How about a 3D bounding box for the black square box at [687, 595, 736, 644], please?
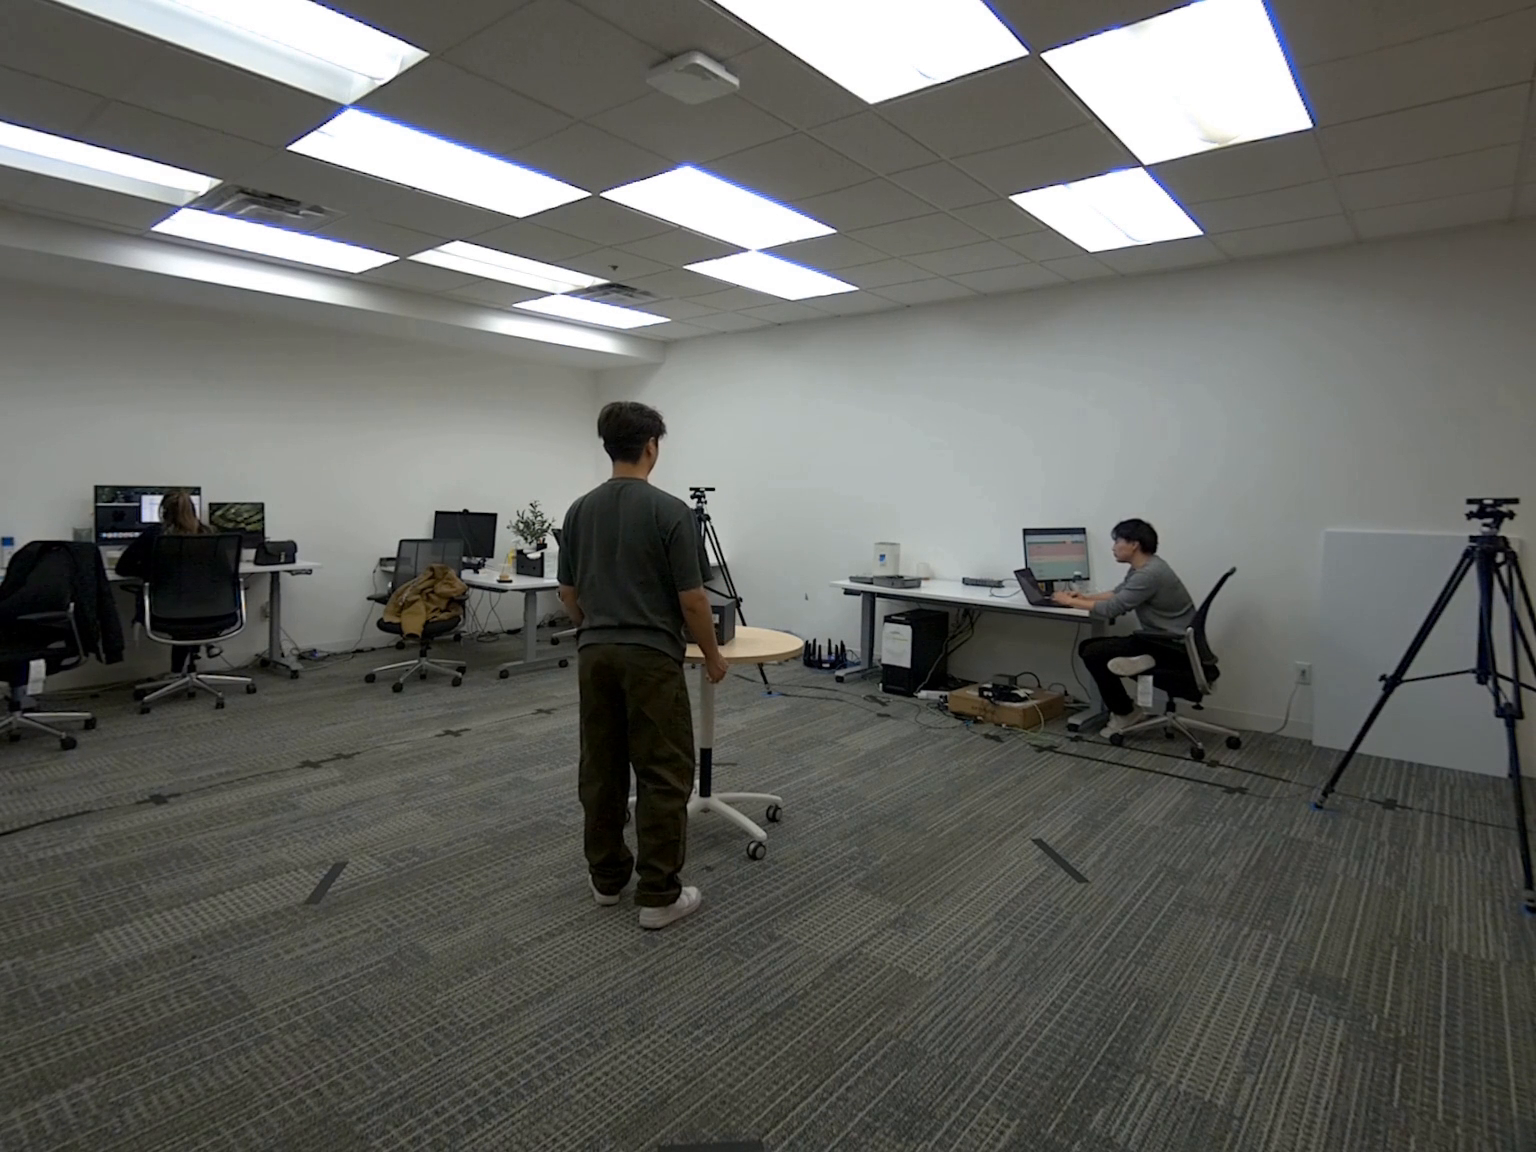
[{"bbox_3d":[-0.265,0.168,3.409,0.220,0.155,0.225,3,4,11],"label":"black square box"}]
